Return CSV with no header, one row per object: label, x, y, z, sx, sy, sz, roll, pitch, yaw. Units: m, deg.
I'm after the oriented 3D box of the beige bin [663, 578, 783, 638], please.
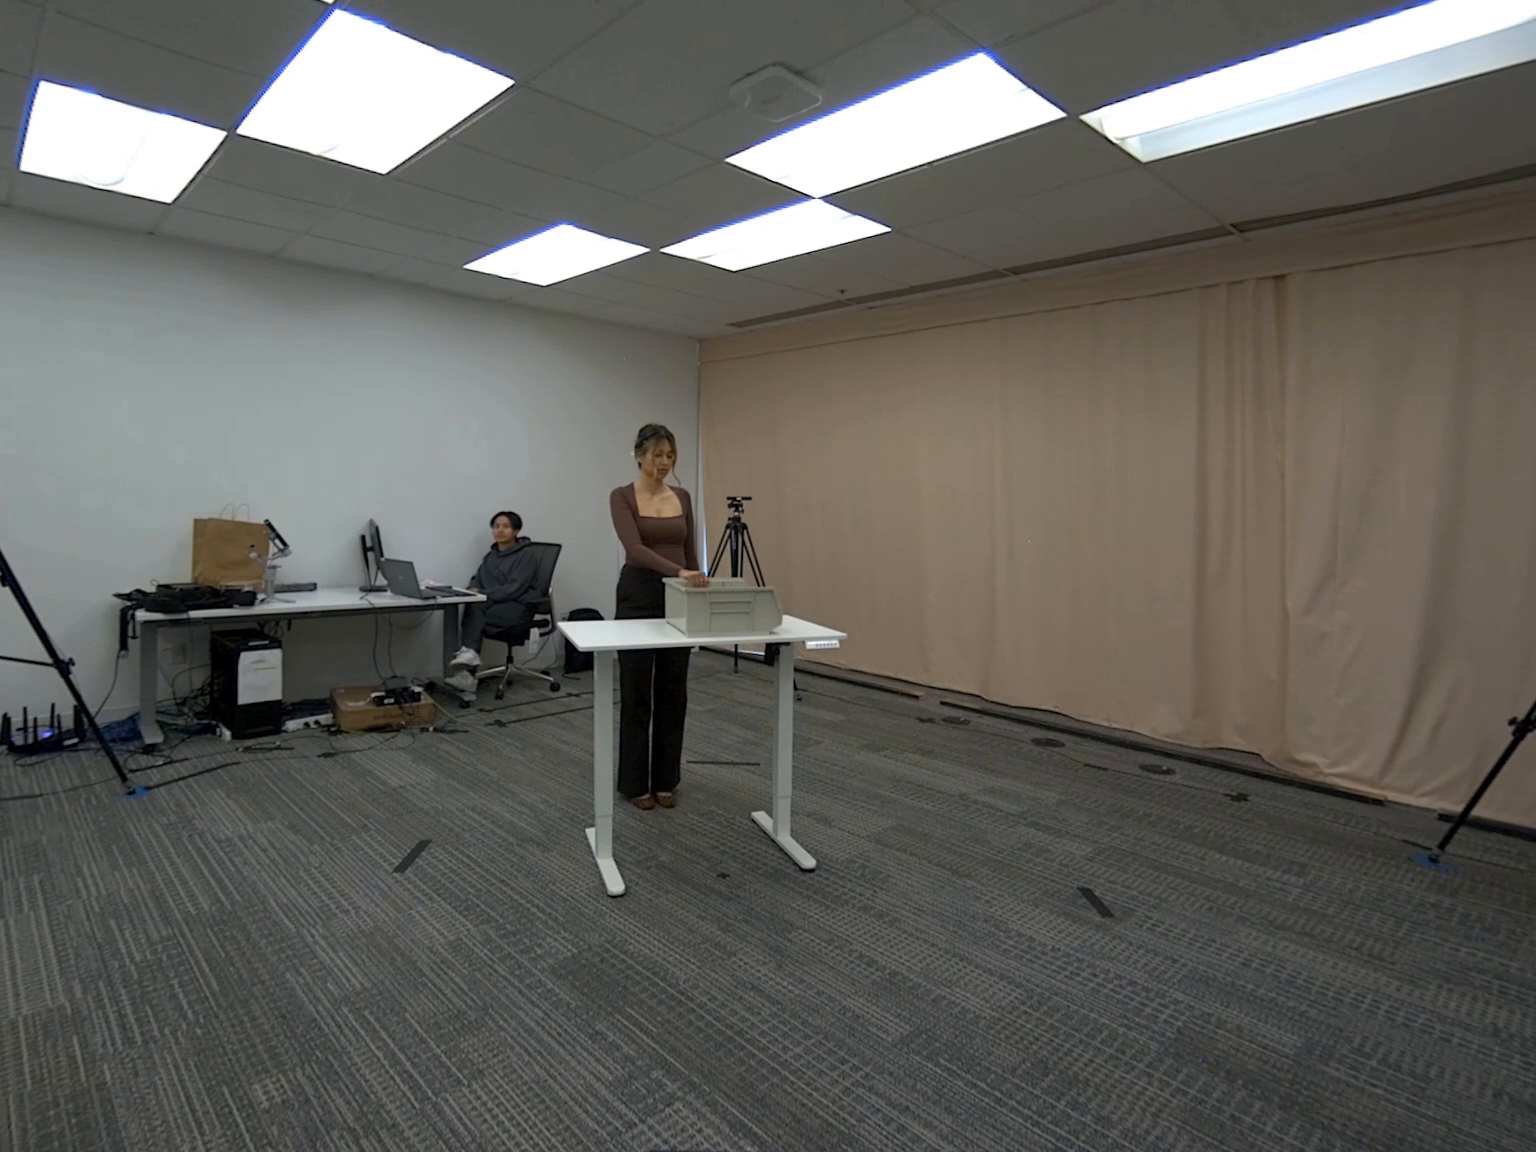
beige bin,-0.191,0.118,3.279,0.372,0.188,0.429,-2,6,-18
